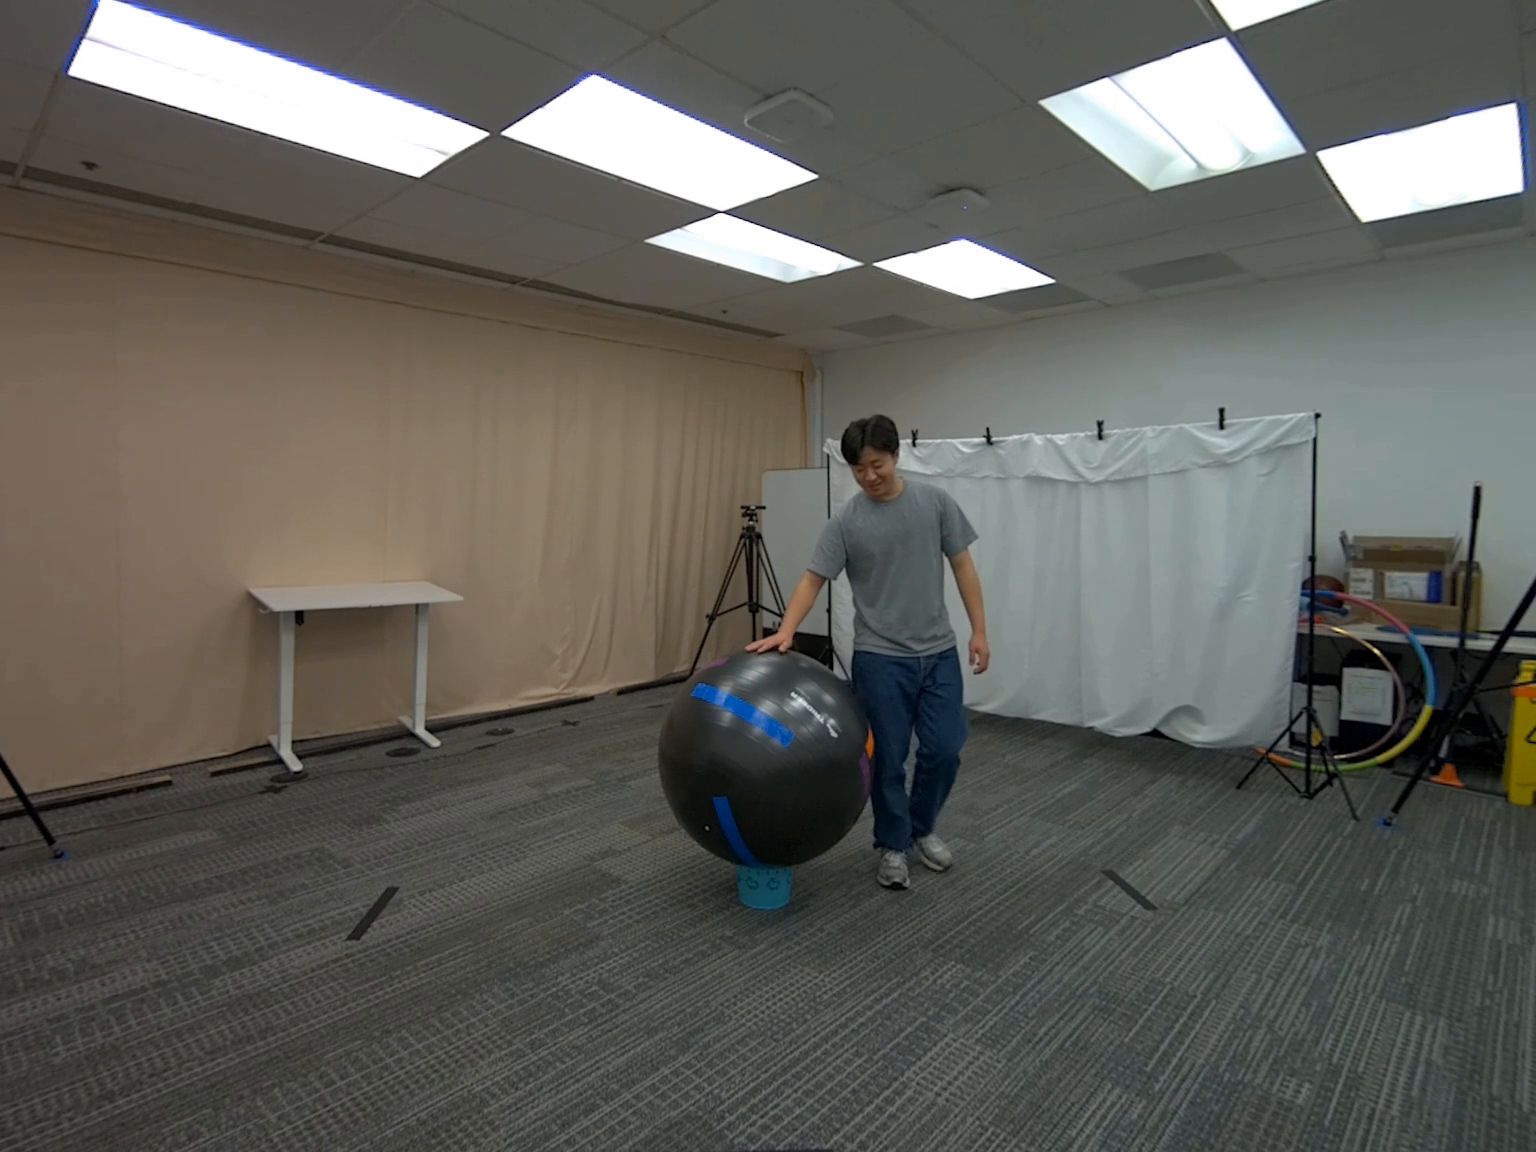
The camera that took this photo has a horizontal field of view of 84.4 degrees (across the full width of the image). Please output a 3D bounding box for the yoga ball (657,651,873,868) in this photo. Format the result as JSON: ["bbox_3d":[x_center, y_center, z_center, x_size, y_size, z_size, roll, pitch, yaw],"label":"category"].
[{"bbox_3d":[-0.013,0.634,2.976,0.757,0.756,0.760,0,4,-2],"label":"yoga ball"}]
